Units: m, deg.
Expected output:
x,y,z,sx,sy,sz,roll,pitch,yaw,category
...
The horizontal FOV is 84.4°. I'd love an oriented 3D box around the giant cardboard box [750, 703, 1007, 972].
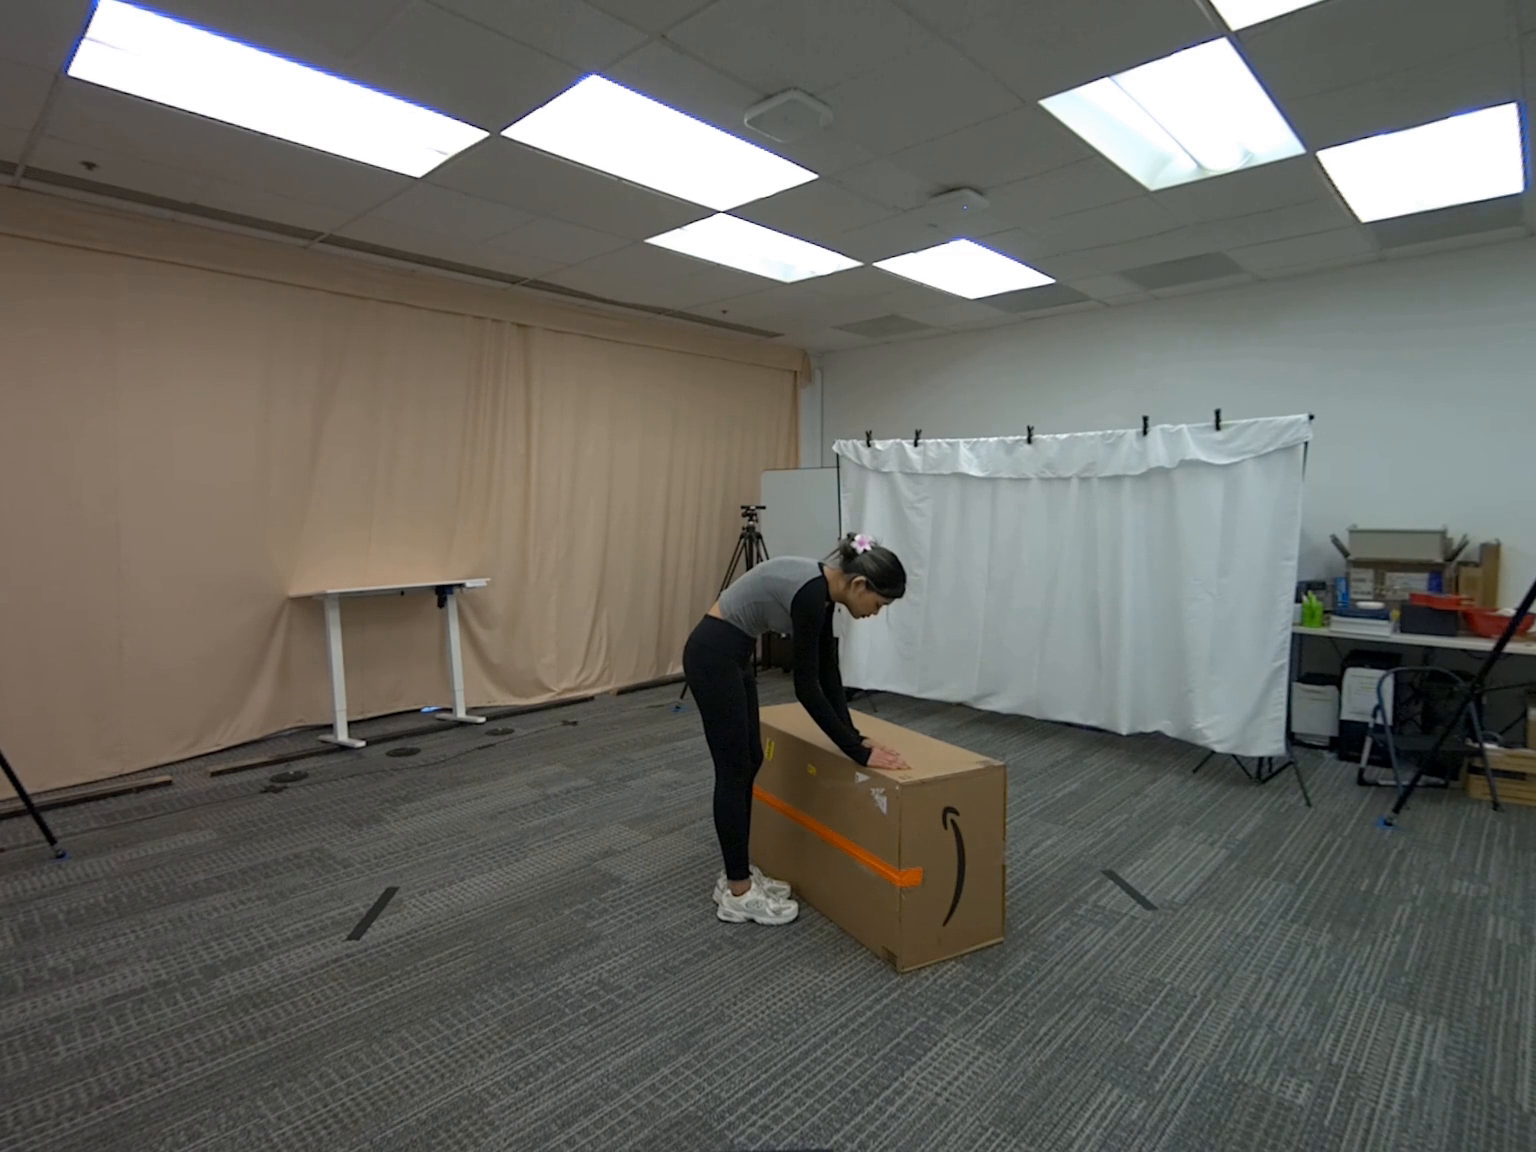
x,y,z,sx,sy,sz,roll,pitch,yaw,category
0.321,0.850,3.032,0.415,0.576,1.055,-2,4,-29,giant cardboard box
